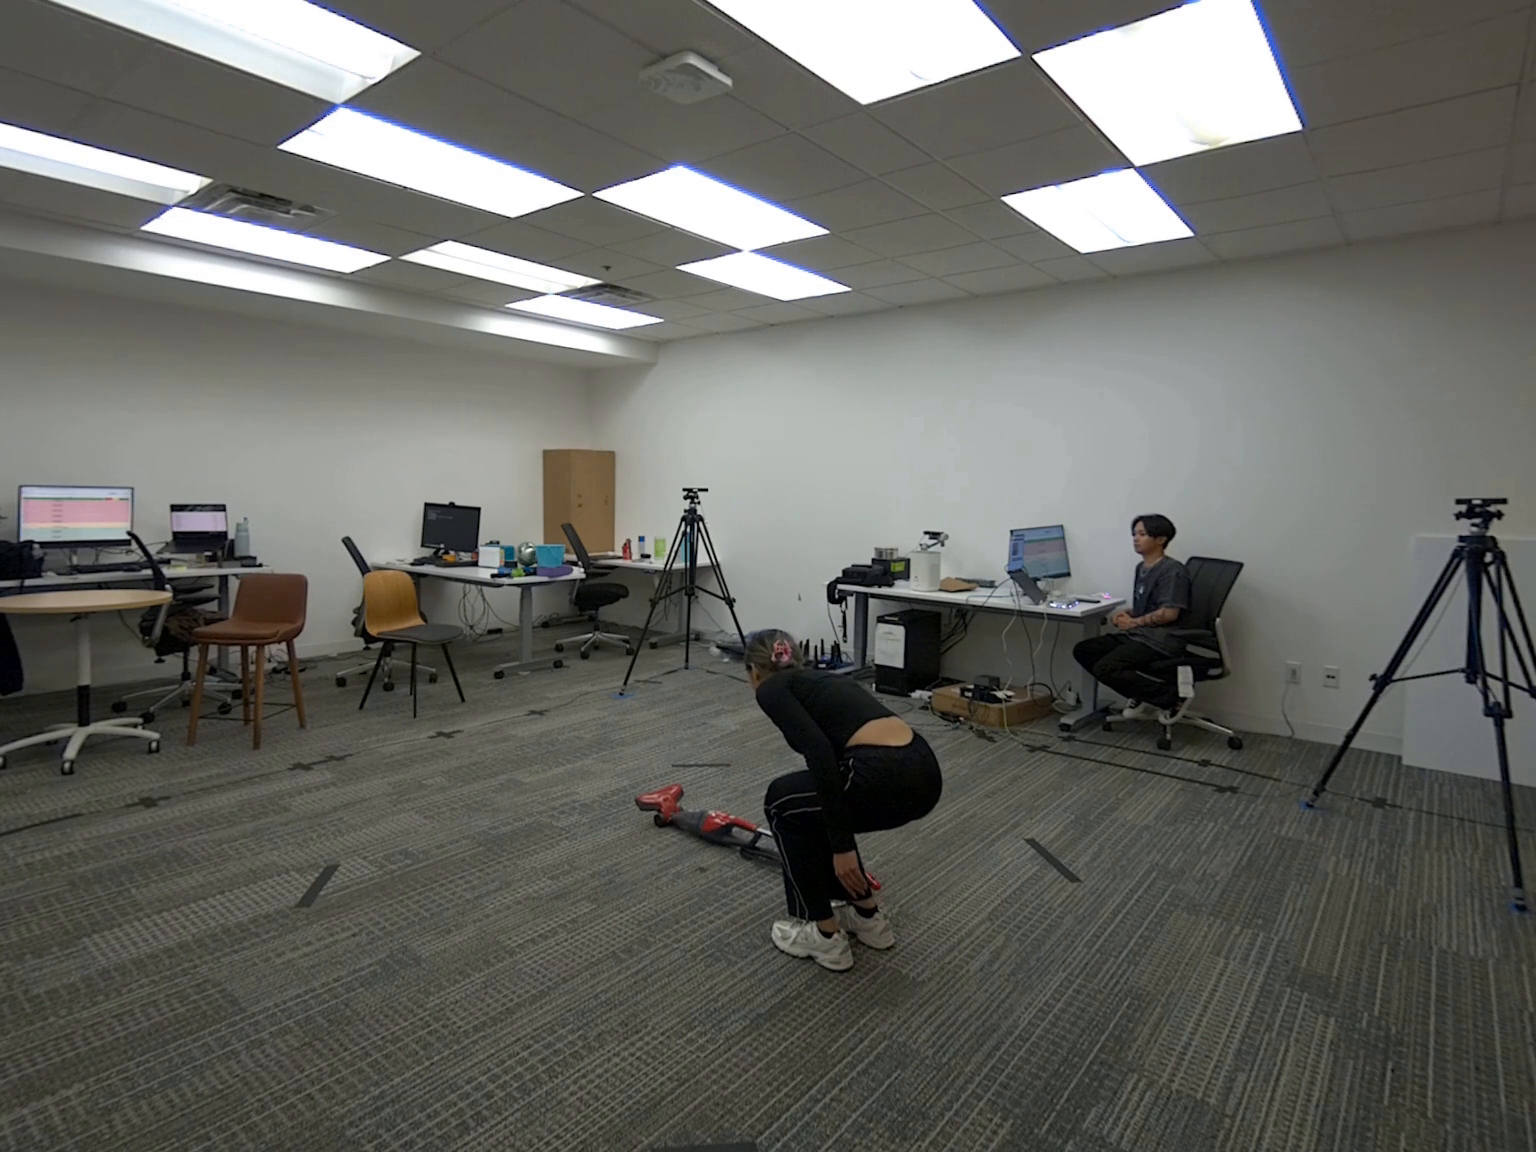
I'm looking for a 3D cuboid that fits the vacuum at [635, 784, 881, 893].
[{"bbox_3d":[-0.056,1.005,3.213,1.086,0.143,0.245,7,7,42],"label":"vacuum"}]
